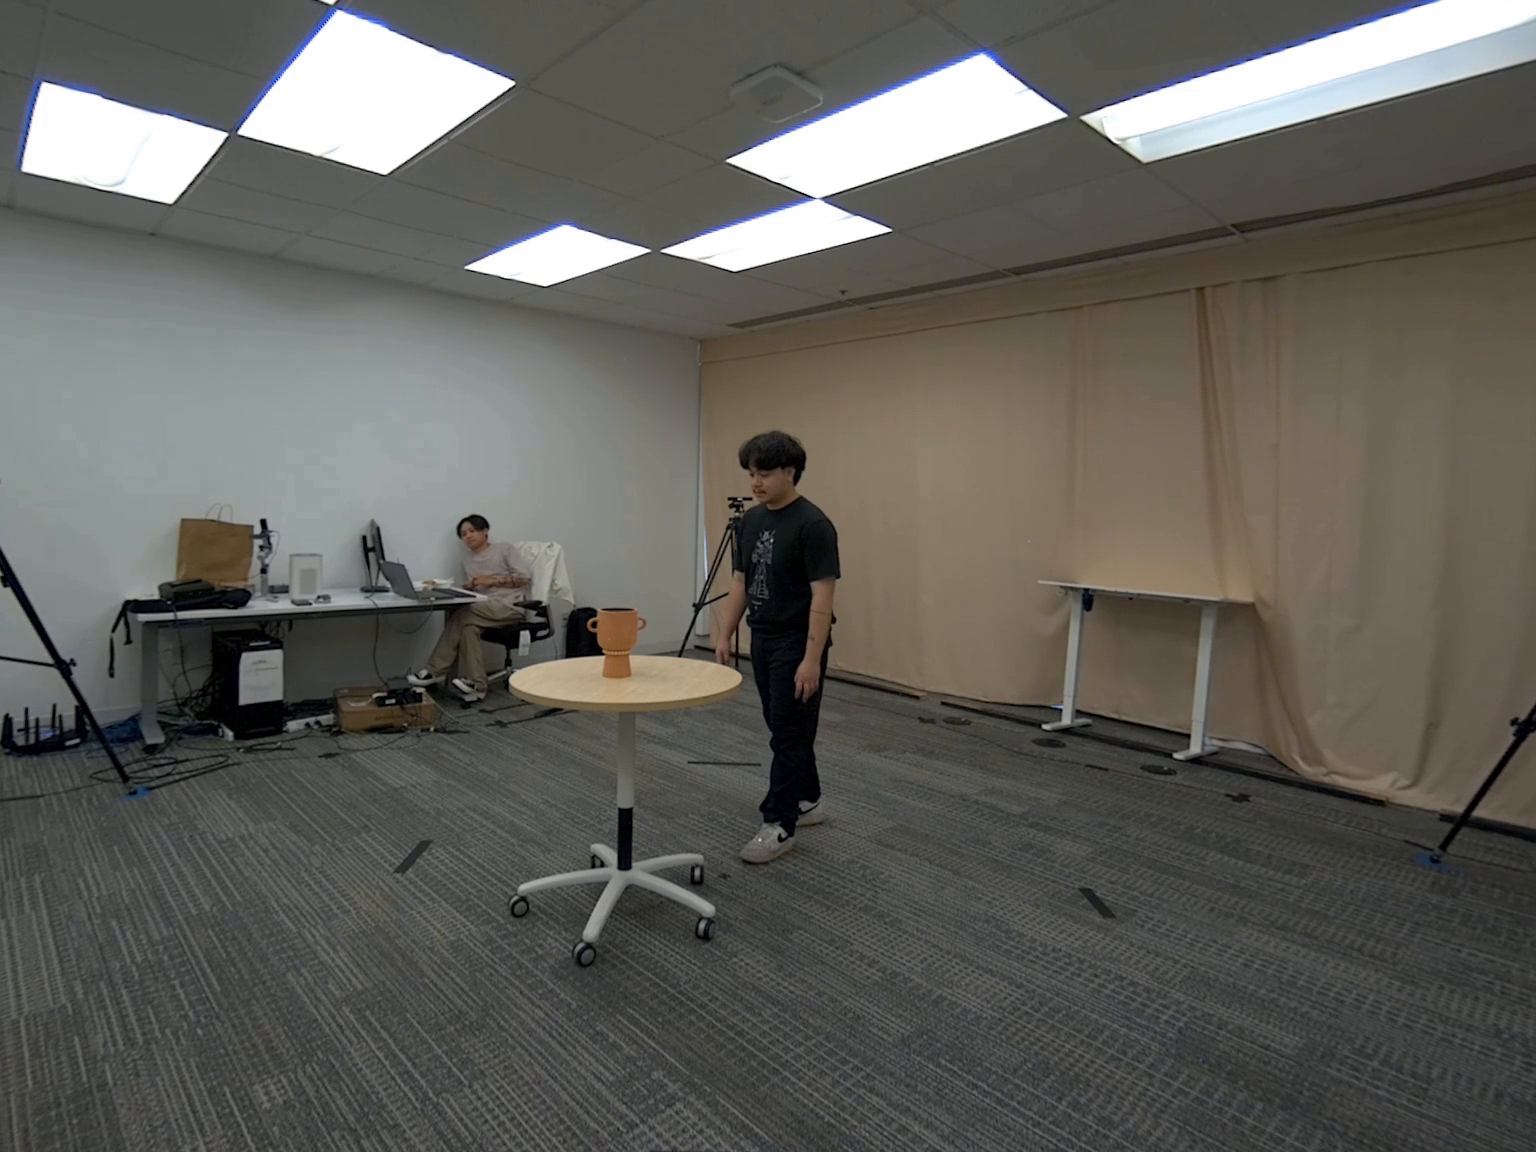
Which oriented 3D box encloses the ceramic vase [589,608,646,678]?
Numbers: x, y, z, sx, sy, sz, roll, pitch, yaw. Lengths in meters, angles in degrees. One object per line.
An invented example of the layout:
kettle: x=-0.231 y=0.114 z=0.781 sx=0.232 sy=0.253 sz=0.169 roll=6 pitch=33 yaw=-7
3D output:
ceramic vase: x=-0.516 y=0.226 z=2.801 sx=0.161 sy=0.219 sz=0.133 roll=2 pitch=3 yaw=20
